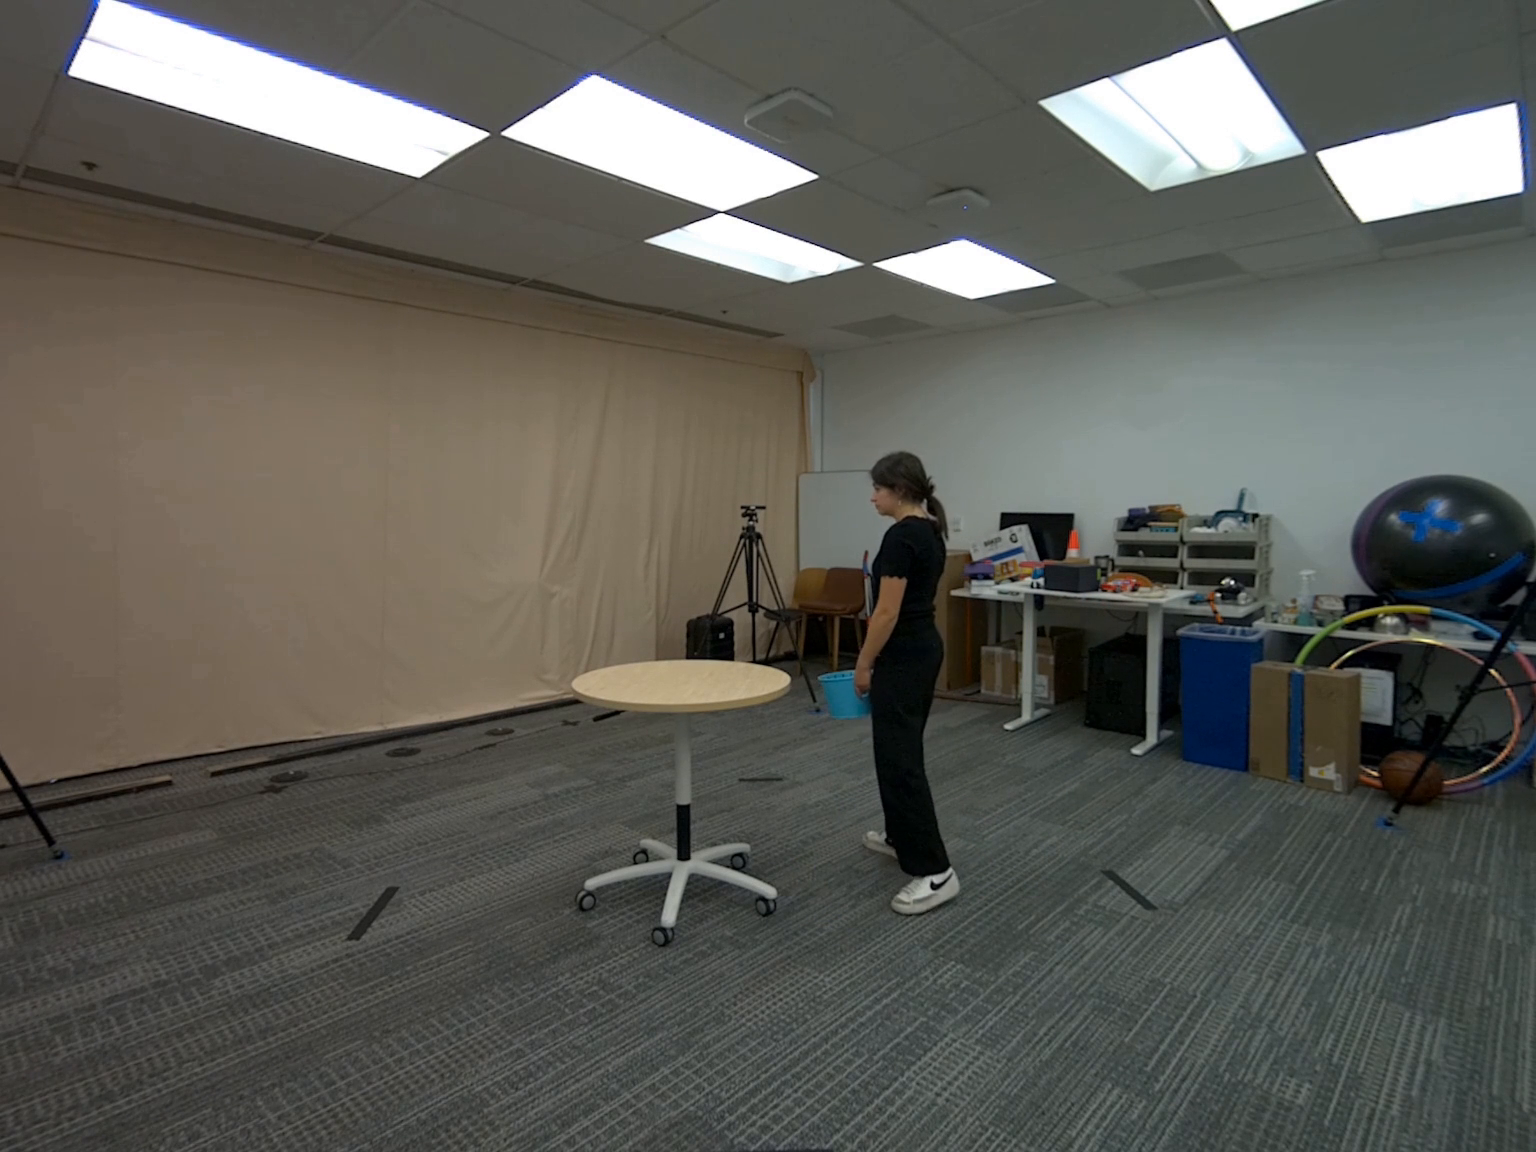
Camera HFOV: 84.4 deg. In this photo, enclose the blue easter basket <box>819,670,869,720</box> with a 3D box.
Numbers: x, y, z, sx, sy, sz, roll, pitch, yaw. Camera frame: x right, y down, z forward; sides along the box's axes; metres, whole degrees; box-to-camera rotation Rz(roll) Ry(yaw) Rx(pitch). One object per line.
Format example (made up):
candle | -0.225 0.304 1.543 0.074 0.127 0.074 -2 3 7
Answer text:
blue easter basket | 0.330 0.460 3.267 0.243 0.156 0.243 -7 -2 -2
